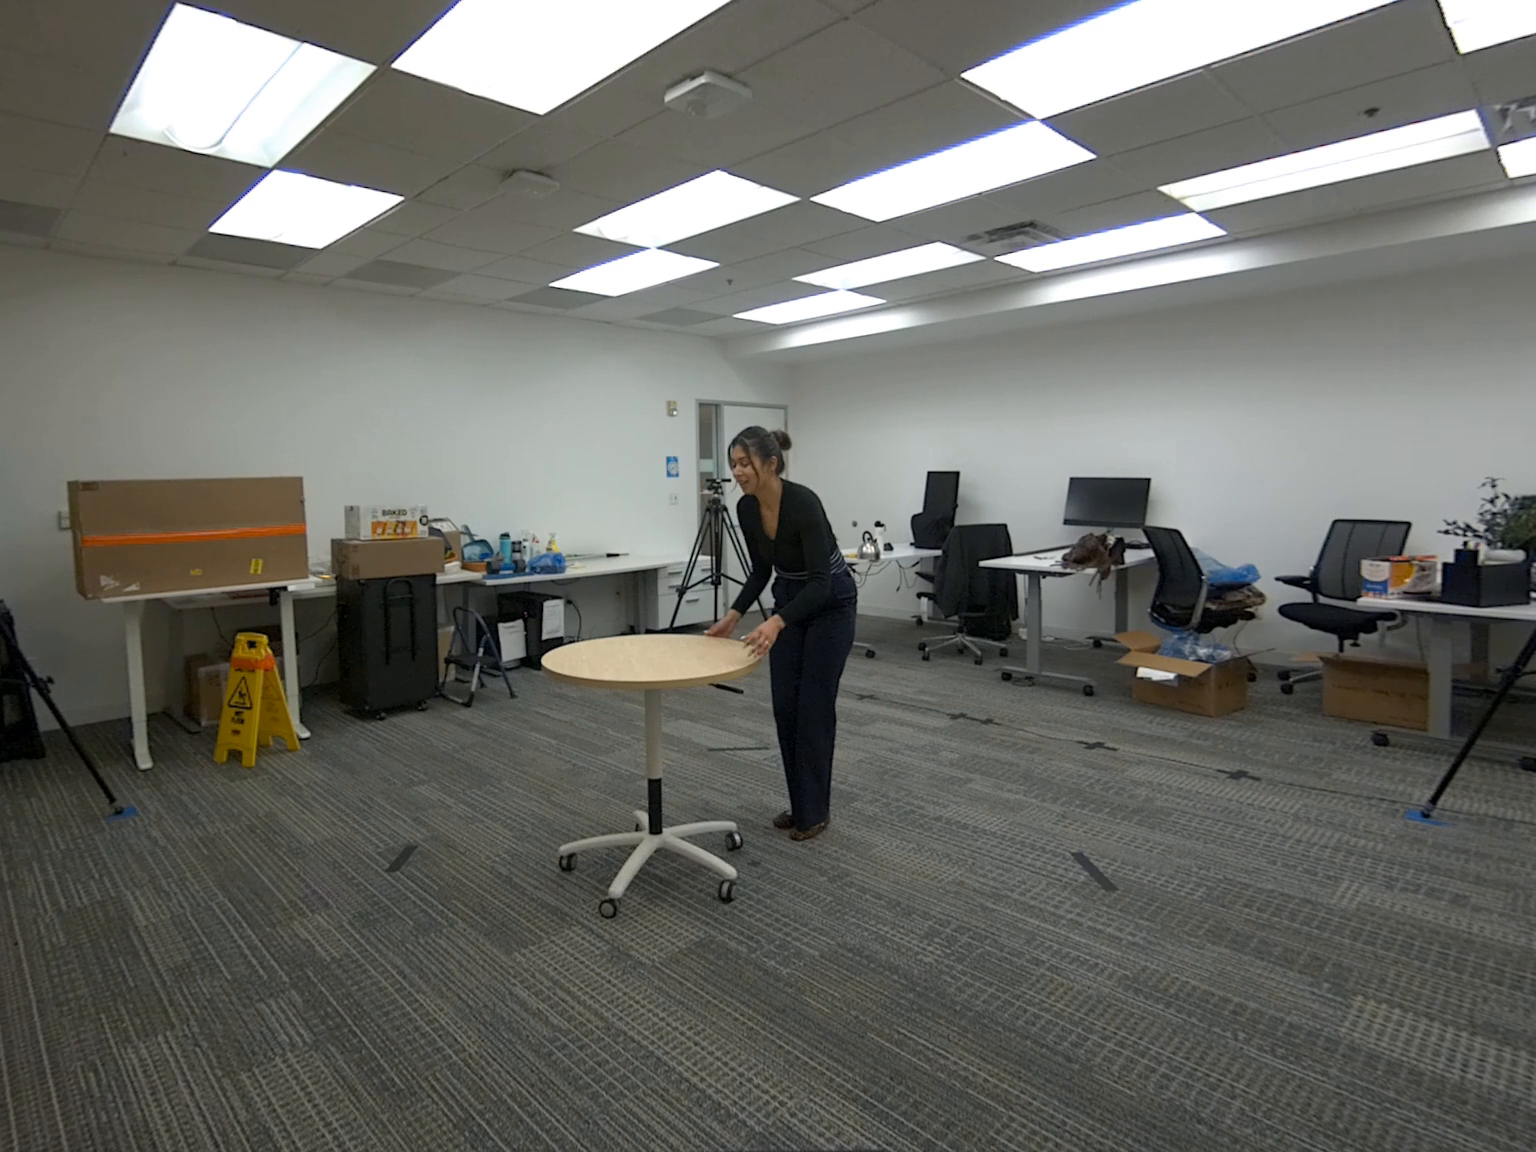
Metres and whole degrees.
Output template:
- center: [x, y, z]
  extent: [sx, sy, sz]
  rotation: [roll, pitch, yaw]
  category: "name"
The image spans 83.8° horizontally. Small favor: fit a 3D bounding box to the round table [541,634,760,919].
- center: [-0.396, 0.669, 3.030]
  extent: [0.763, 0.790, 0.768]
  rotation: [-1, 5, -2]
  category: "round table"
